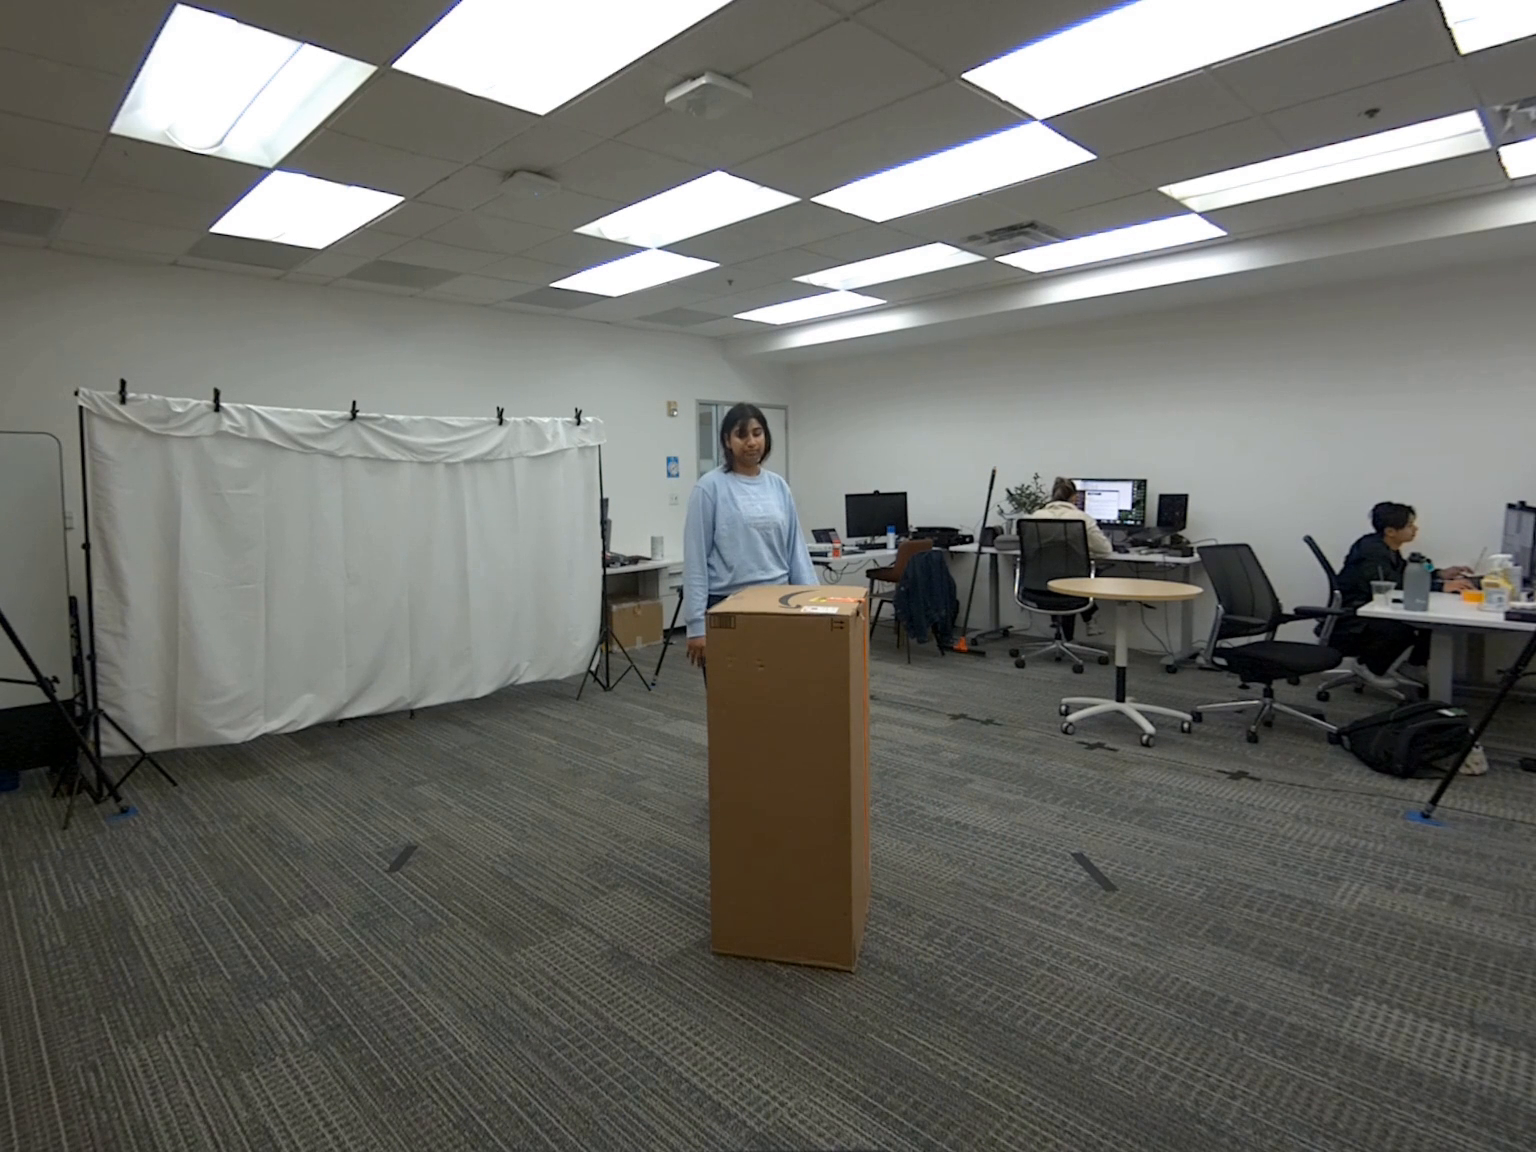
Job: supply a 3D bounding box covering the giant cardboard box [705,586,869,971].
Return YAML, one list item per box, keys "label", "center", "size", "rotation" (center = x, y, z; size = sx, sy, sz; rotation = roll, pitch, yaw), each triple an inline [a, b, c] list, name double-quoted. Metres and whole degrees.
- label: "giant cardboard box"
  center: [0.087, 0.580, 2.714]
  size: [0.431, 1.022, 0.572]
  rotation: [0, 4, 12]
